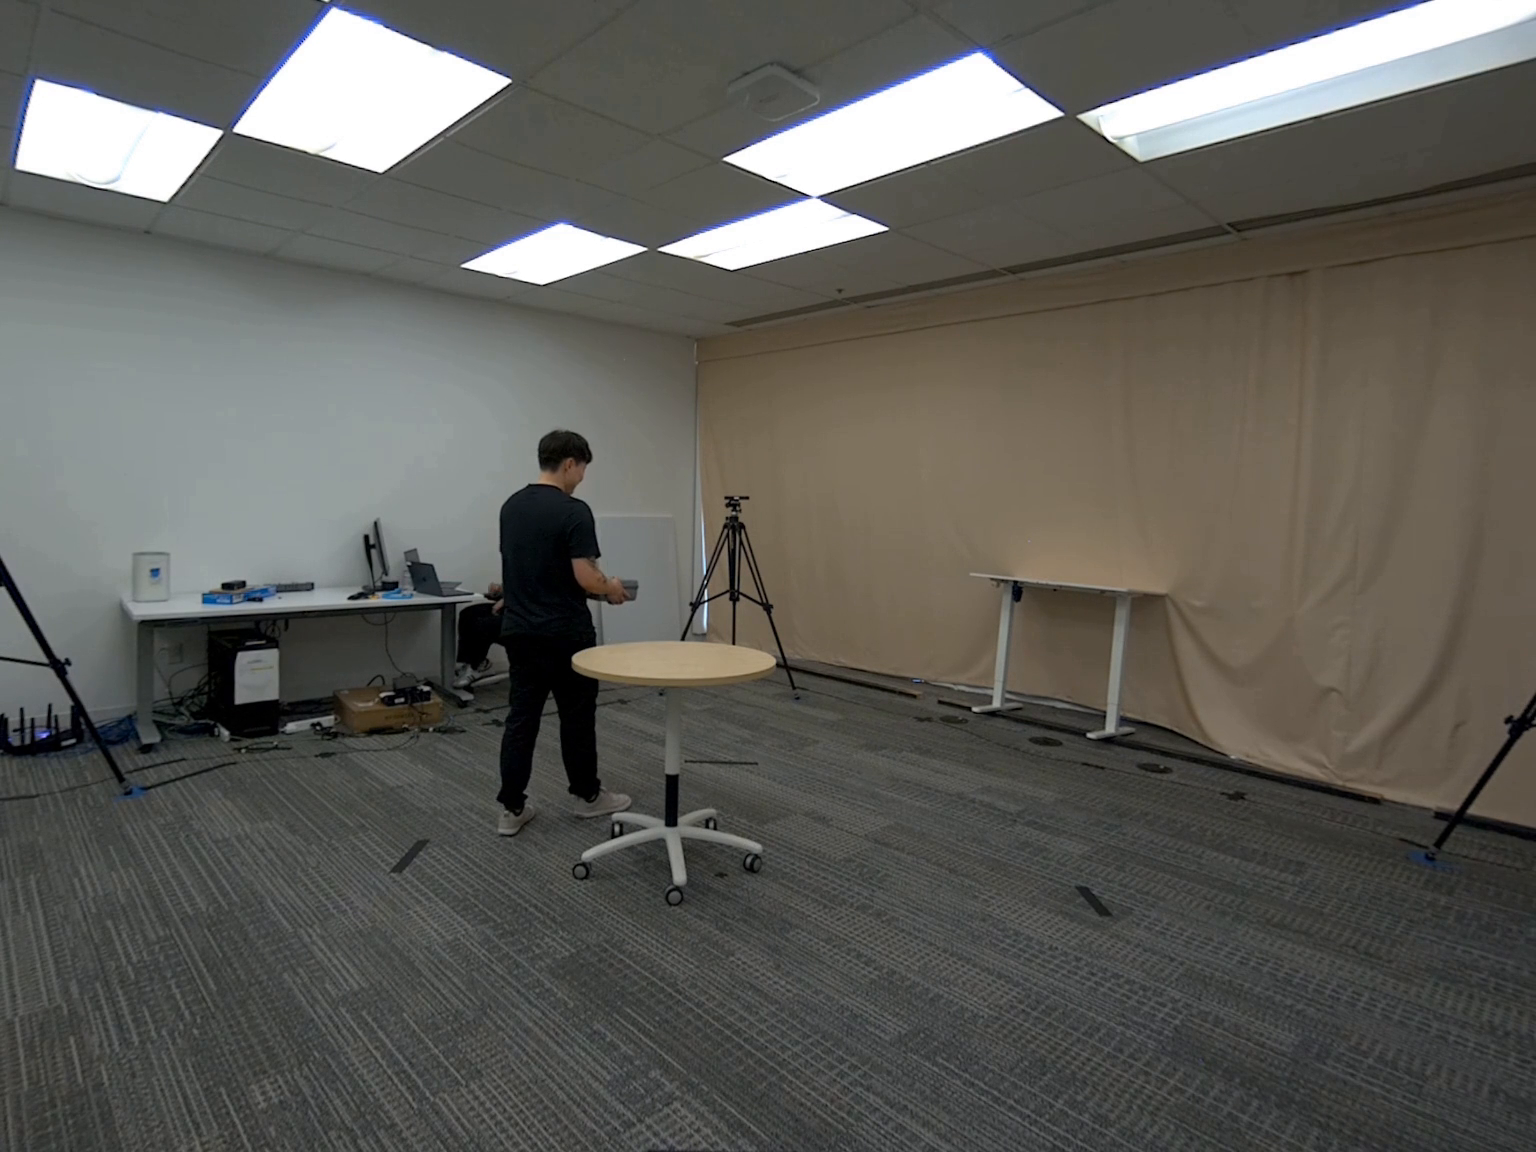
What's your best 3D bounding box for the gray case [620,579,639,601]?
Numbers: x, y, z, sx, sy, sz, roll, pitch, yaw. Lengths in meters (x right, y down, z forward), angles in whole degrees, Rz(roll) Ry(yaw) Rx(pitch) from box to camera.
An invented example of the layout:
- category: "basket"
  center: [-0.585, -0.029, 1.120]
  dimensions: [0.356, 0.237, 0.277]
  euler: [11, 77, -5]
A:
- category: "gray case"
  center: [-0.775, 0.047, 3.807]
  dimensions: [0.263, 0.104, 0.255]
  euler: [8, 4, 28]
